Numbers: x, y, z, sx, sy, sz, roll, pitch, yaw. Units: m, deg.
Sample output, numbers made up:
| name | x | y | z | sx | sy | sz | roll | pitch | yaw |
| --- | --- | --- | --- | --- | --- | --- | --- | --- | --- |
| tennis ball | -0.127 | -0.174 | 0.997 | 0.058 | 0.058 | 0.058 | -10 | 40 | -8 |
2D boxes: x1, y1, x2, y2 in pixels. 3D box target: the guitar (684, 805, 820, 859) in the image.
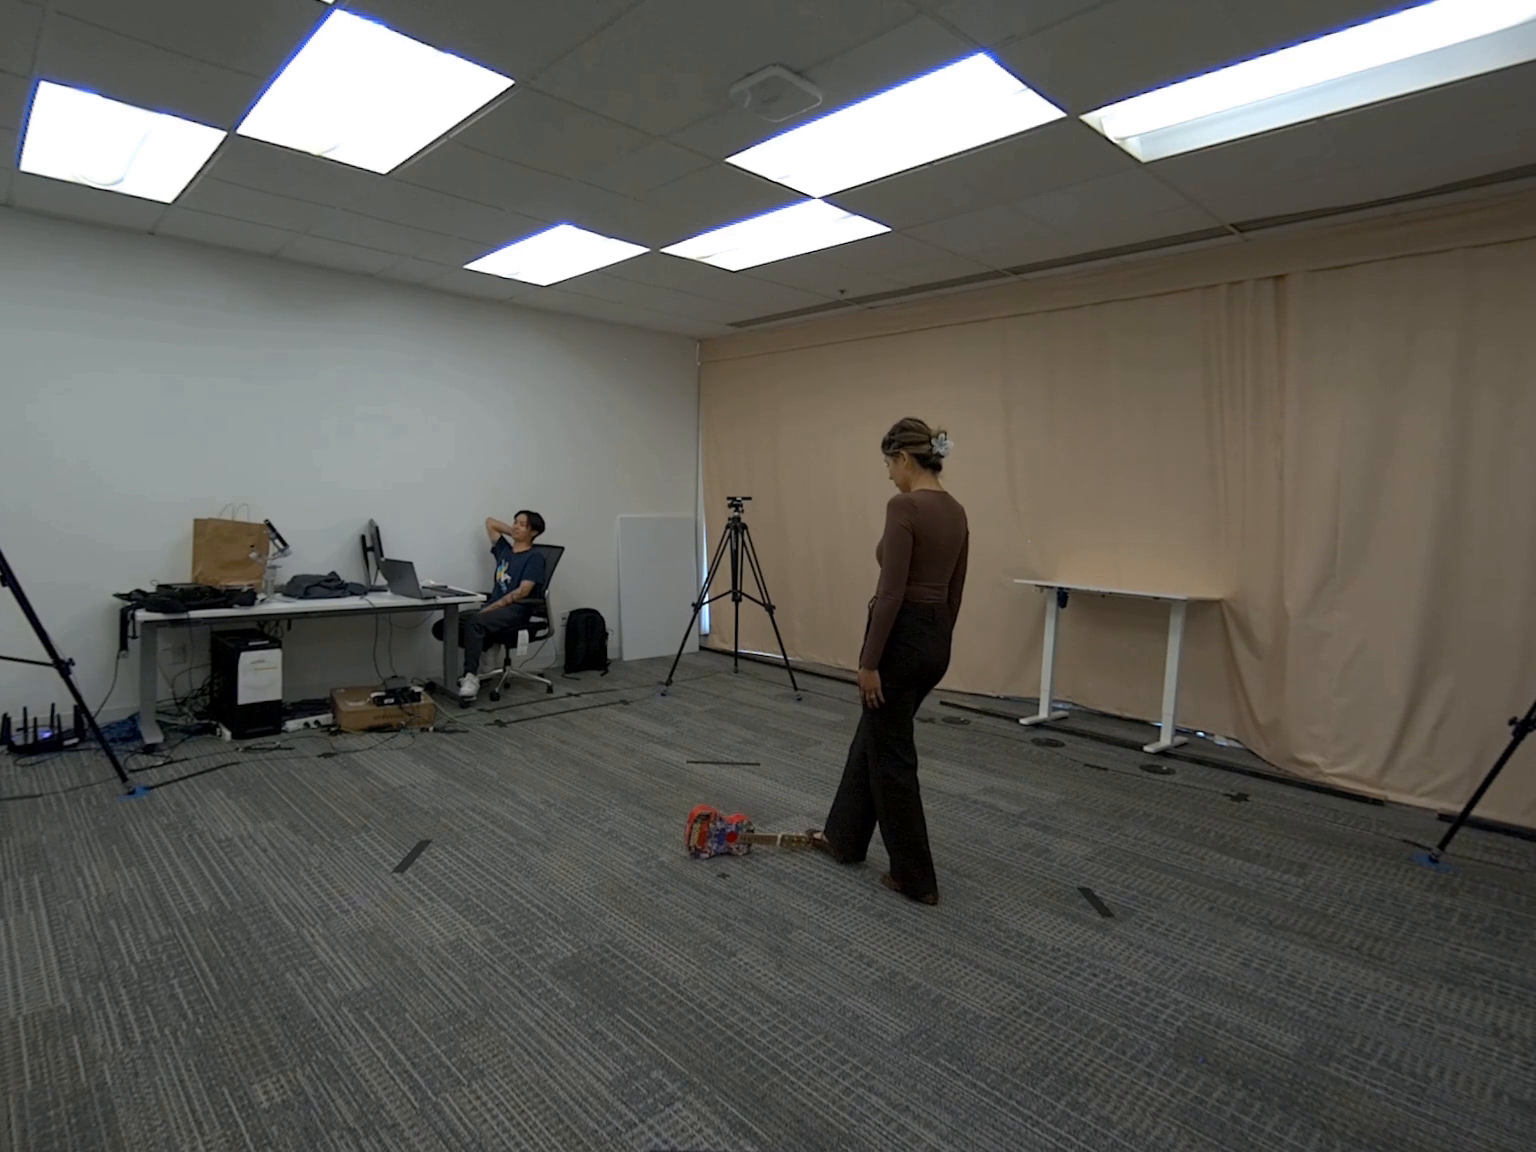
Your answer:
| name | x | y | z | sx | sy | sz | roll | pitch | yaw |
| --- | --- | --- | --- | --- | --- | --- | --- | --- | --- |
| guitar | -0.093 | 1.041 | 3.312 | 0.490 | 0.193 | 0.072 | 18 | 1 | -17 |
